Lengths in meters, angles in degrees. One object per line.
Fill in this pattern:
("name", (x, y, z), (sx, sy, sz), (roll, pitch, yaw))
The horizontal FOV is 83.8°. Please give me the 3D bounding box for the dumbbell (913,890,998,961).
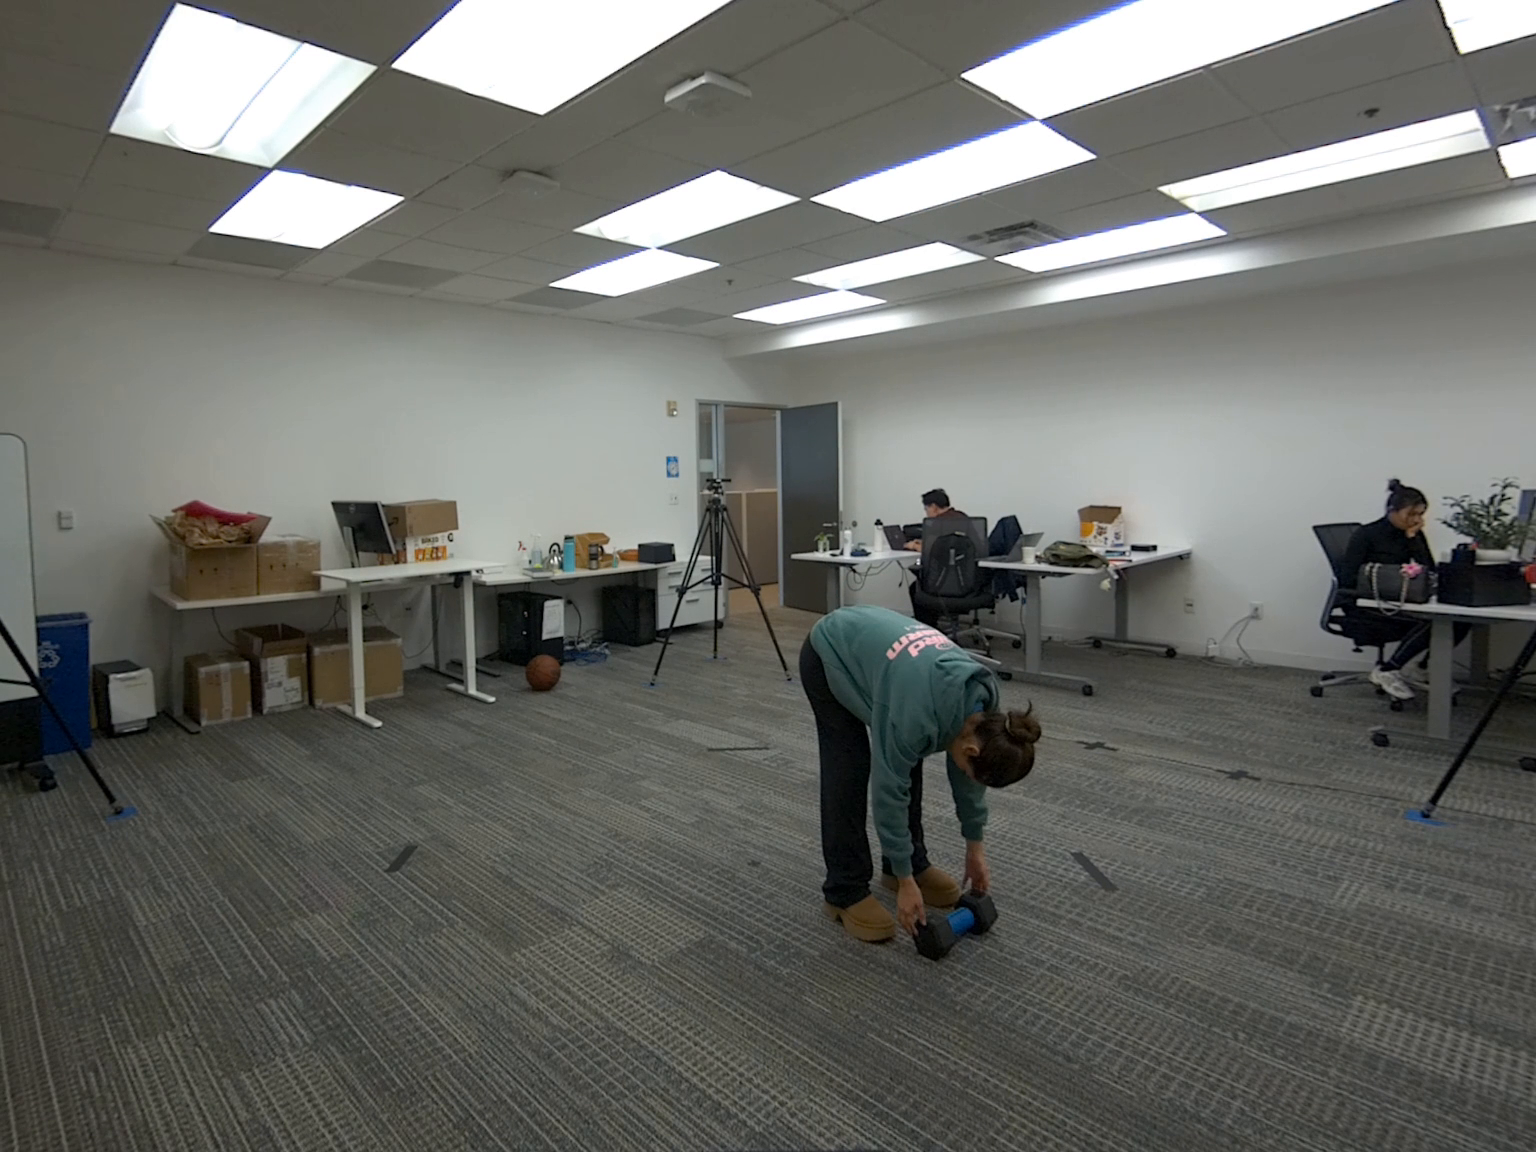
("dumbbell", (0.563, 1.044, 2.563), (0.286, 0.121, 0.113), (-7, 40, -40))
